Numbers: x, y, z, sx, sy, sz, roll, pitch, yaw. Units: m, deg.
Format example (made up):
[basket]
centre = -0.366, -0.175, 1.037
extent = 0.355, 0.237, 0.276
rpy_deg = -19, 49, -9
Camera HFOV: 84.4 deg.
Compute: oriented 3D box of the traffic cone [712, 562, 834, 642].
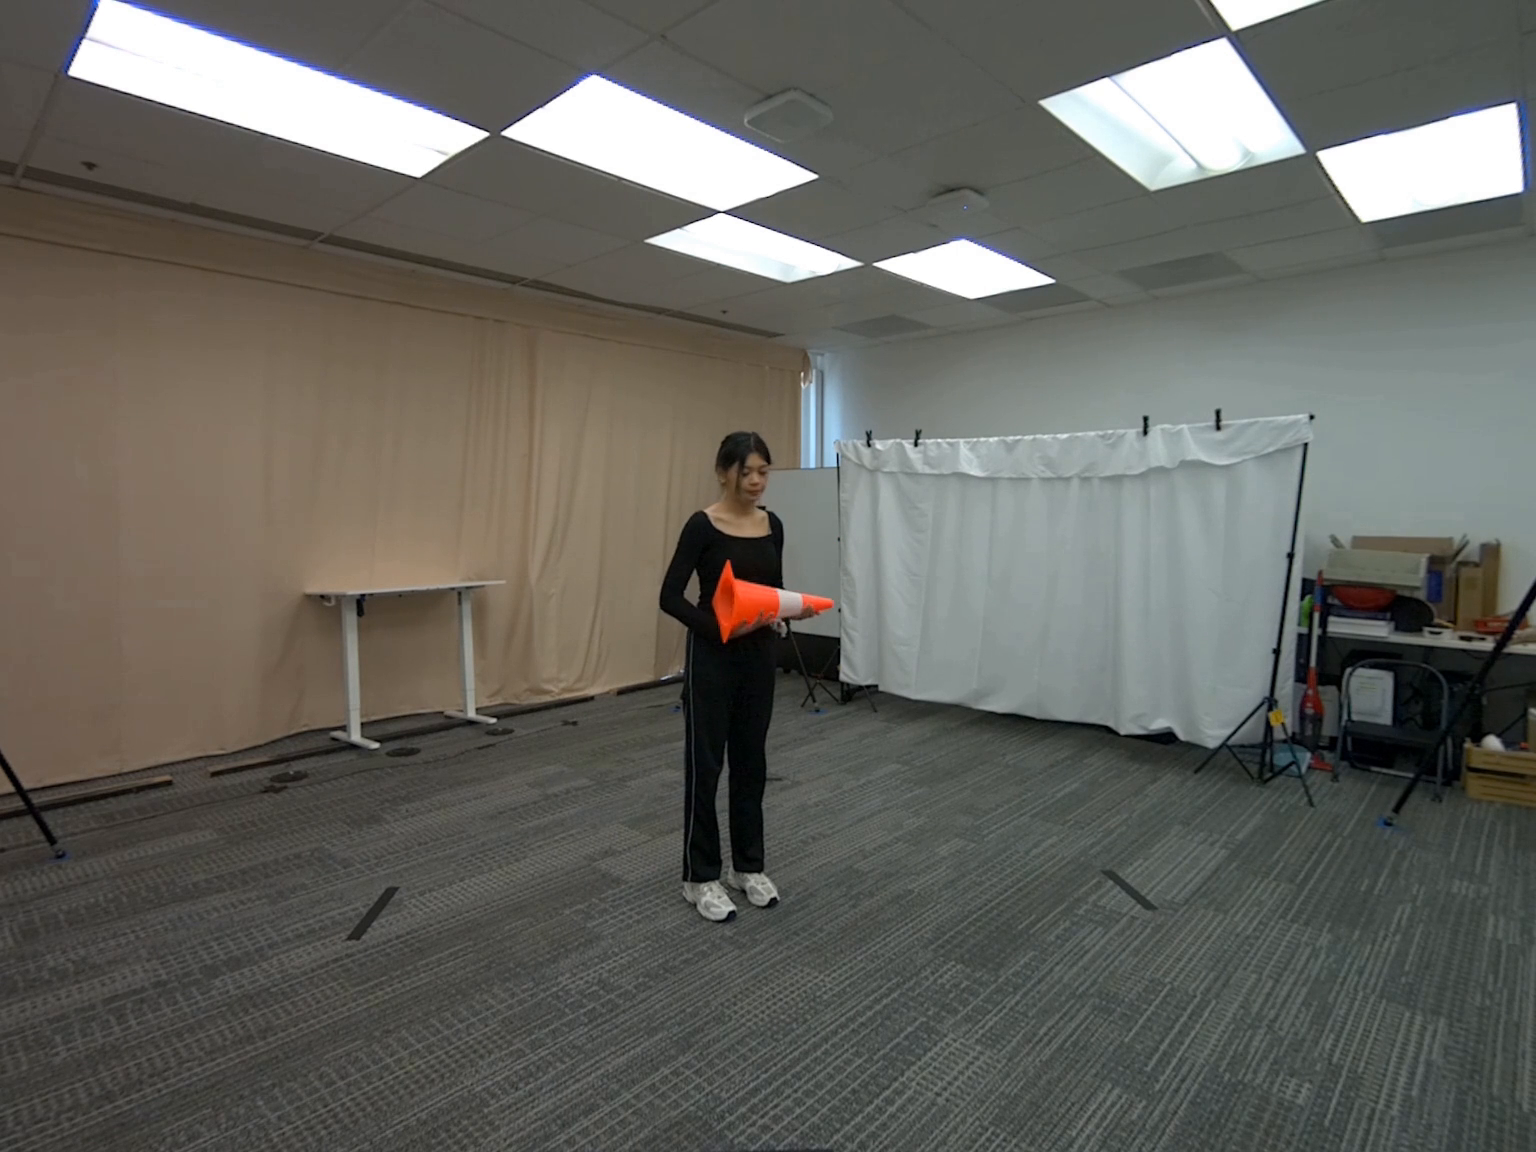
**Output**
[traffic cone]
centre = 0.056, 0.093, 2.775
extent = 0.379, 0.201, 0.209
rpy_deg = 6, 38, -11
